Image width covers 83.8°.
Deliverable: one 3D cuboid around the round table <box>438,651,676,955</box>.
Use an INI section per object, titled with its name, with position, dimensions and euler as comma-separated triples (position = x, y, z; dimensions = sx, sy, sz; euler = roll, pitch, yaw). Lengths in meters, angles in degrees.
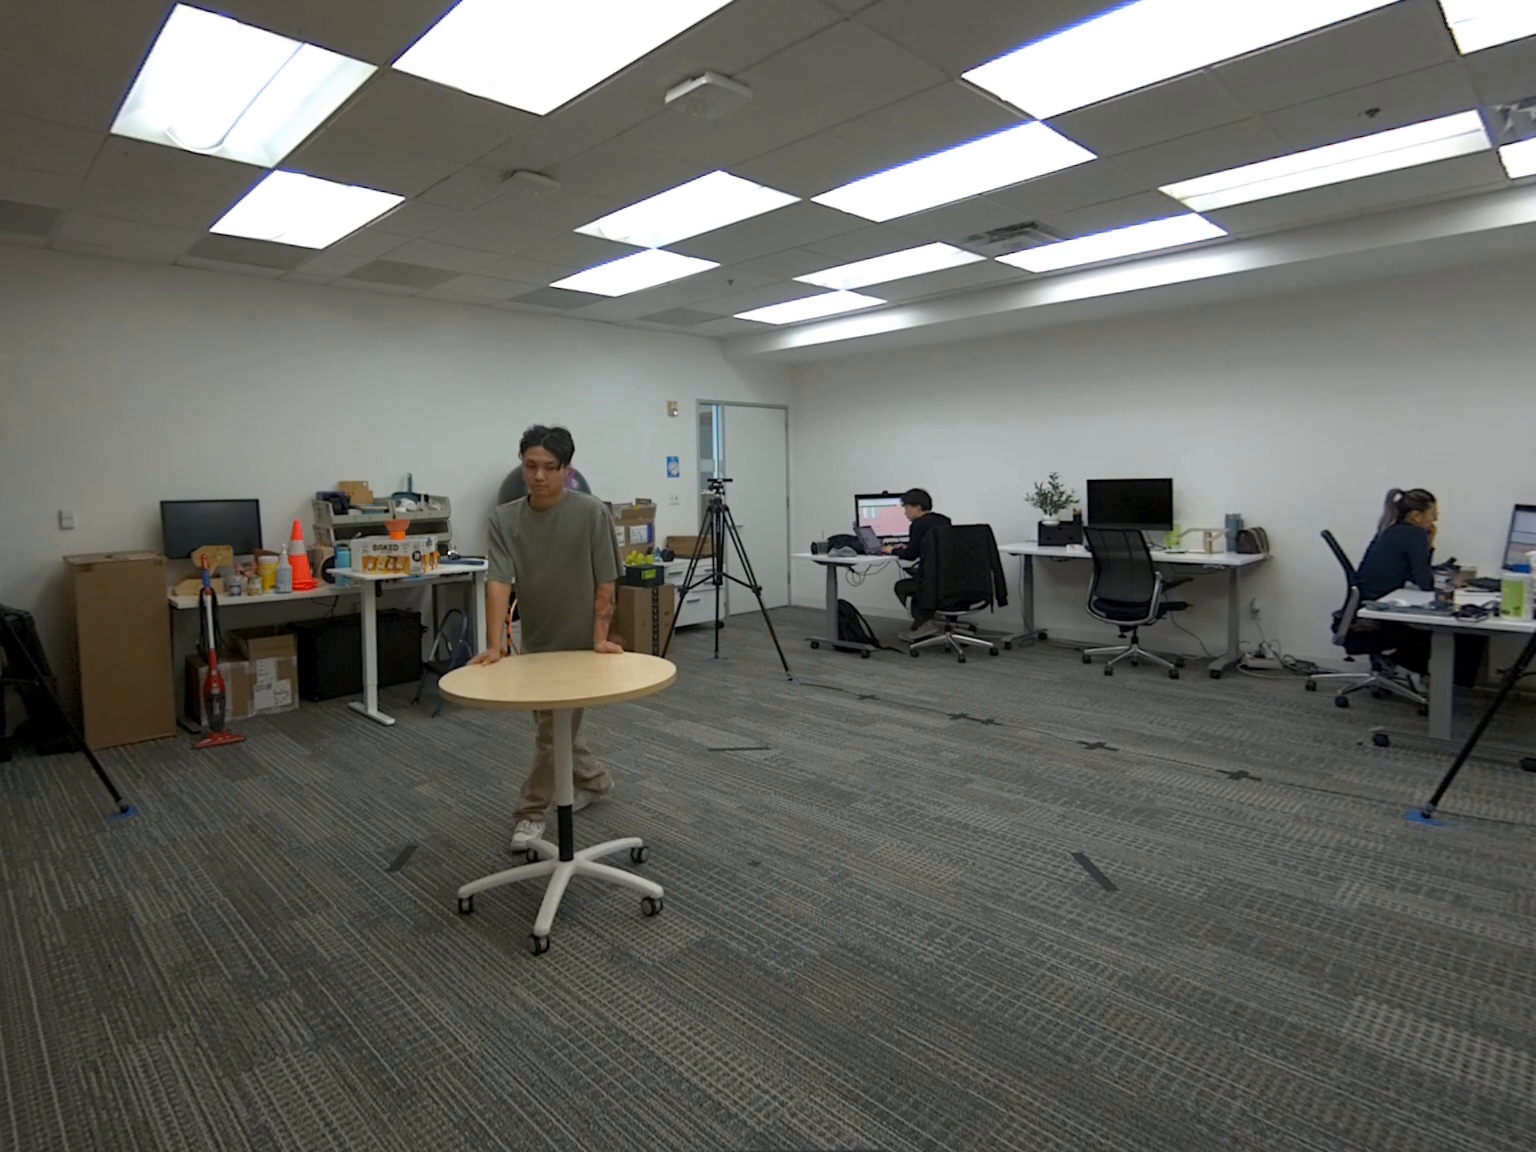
[round table]
position = -0.675, 0.703, 2.833
dimensions = 0.784, 0.784, 0.789
euler = -1, 4, -2
